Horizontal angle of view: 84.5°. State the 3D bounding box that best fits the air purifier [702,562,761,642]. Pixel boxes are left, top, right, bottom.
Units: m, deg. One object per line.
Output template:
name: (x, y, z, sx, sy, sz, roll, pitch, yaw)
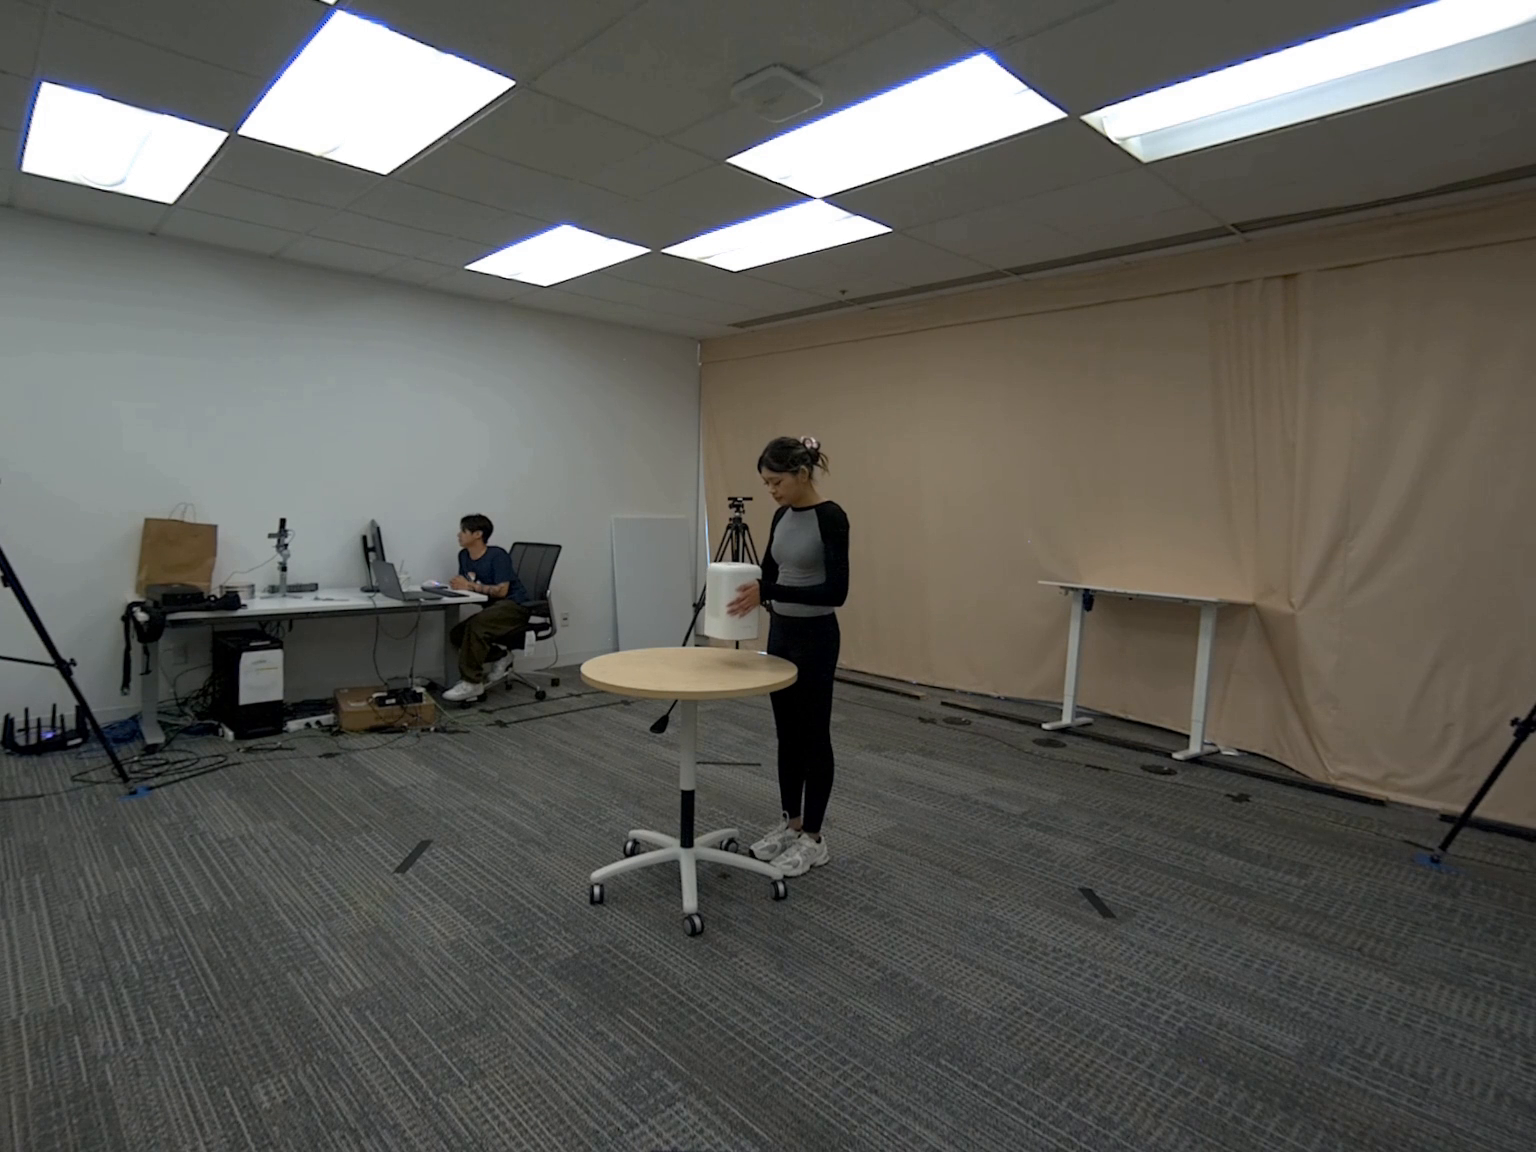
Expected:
air purifier: (-0.127, 0.090, 3.026, 0.167, 0.265, 0.176, 0, 4, -40)
